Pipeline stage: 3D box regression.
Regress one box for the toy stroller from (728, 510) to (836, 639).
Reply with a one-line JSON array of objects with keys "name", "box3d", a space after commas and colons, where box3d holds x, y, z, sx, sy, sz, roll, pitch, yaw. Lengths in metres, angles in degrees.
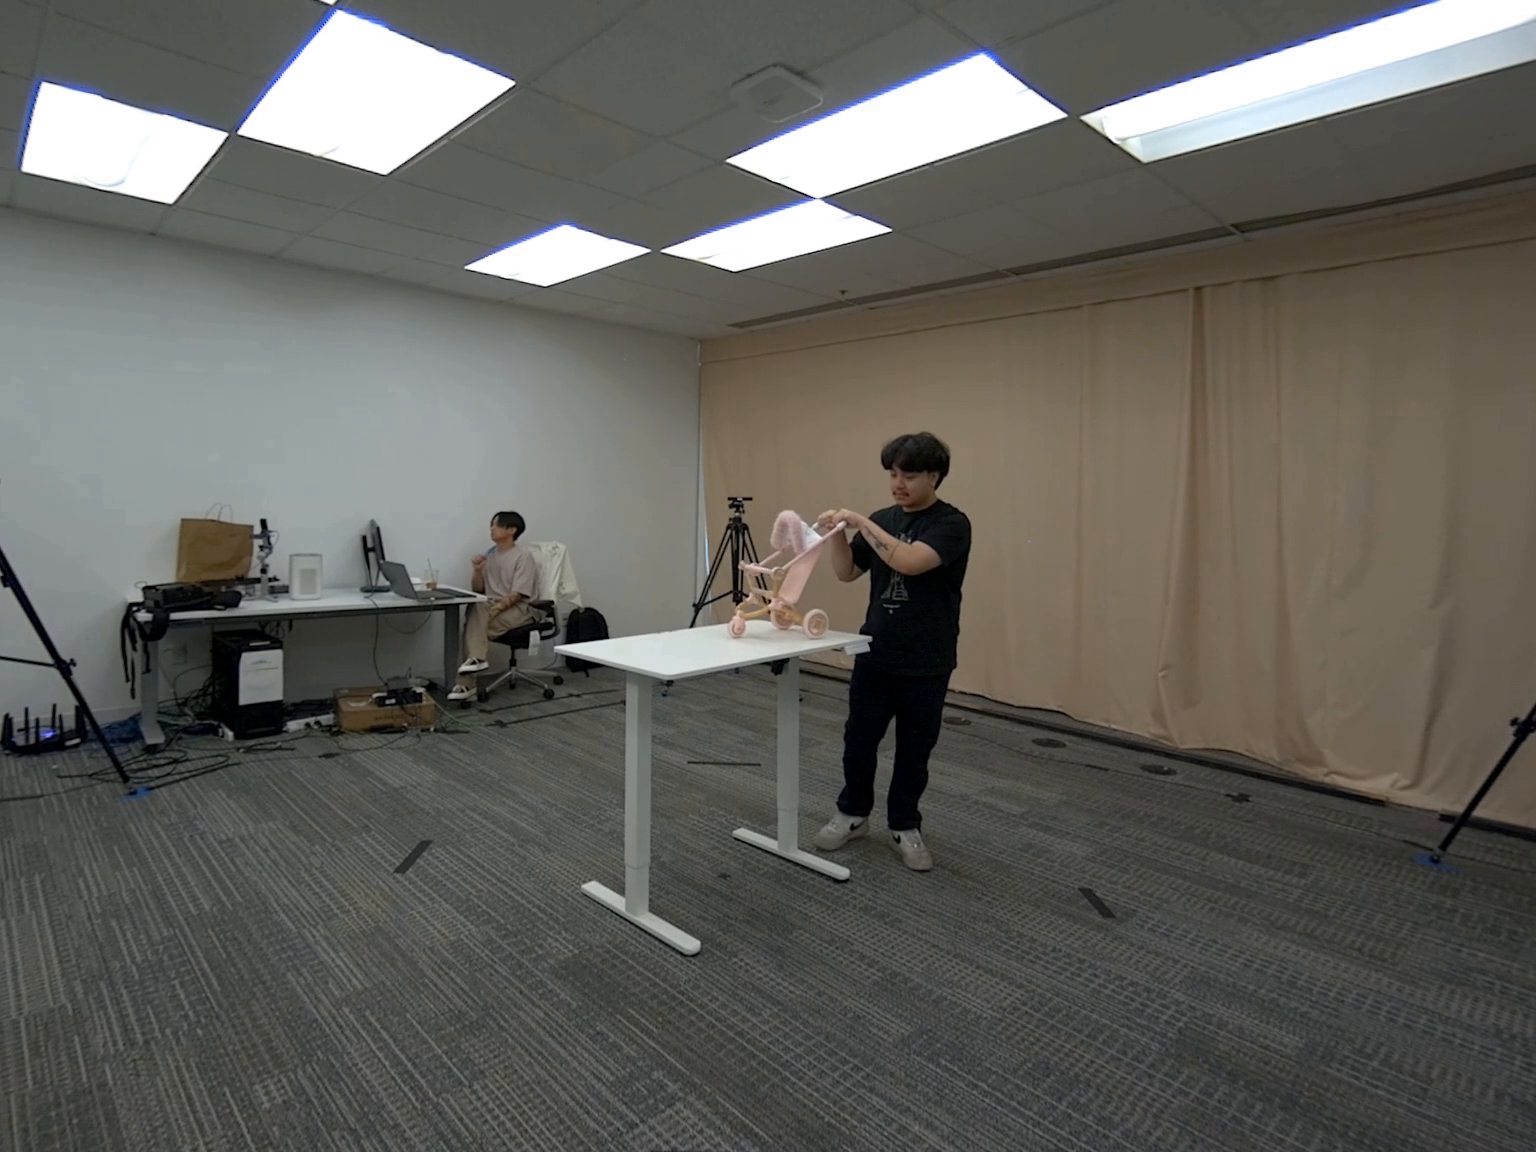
[{"name": "toy stroller", "box3d": [0.044, -0.003, 3.133, 0.335, 0.535, 0.286, 13, -2, -21]}]
